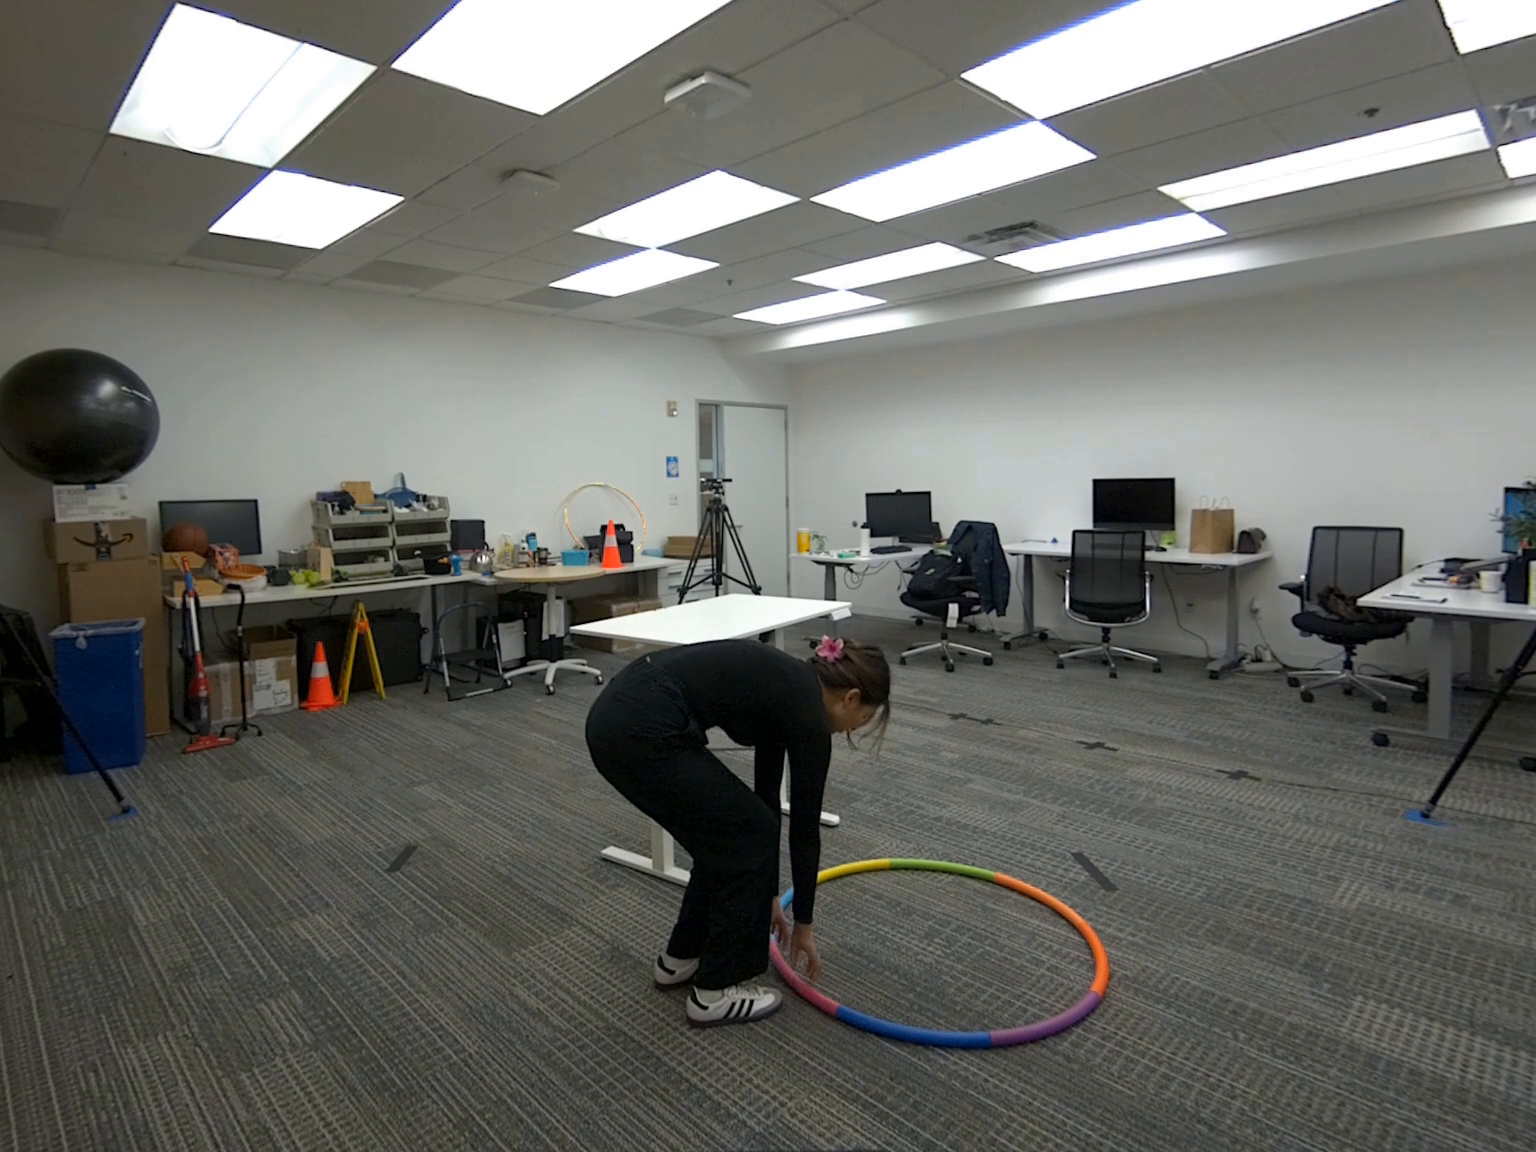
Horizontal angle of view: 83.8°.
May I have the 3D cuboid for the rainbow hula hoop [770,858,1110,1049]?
[{"bbox_3d":[0.489,1.069,2.570,0.978,0.035,0.984,-2,7,-2],"label":"rainbow hula hoop"}]
